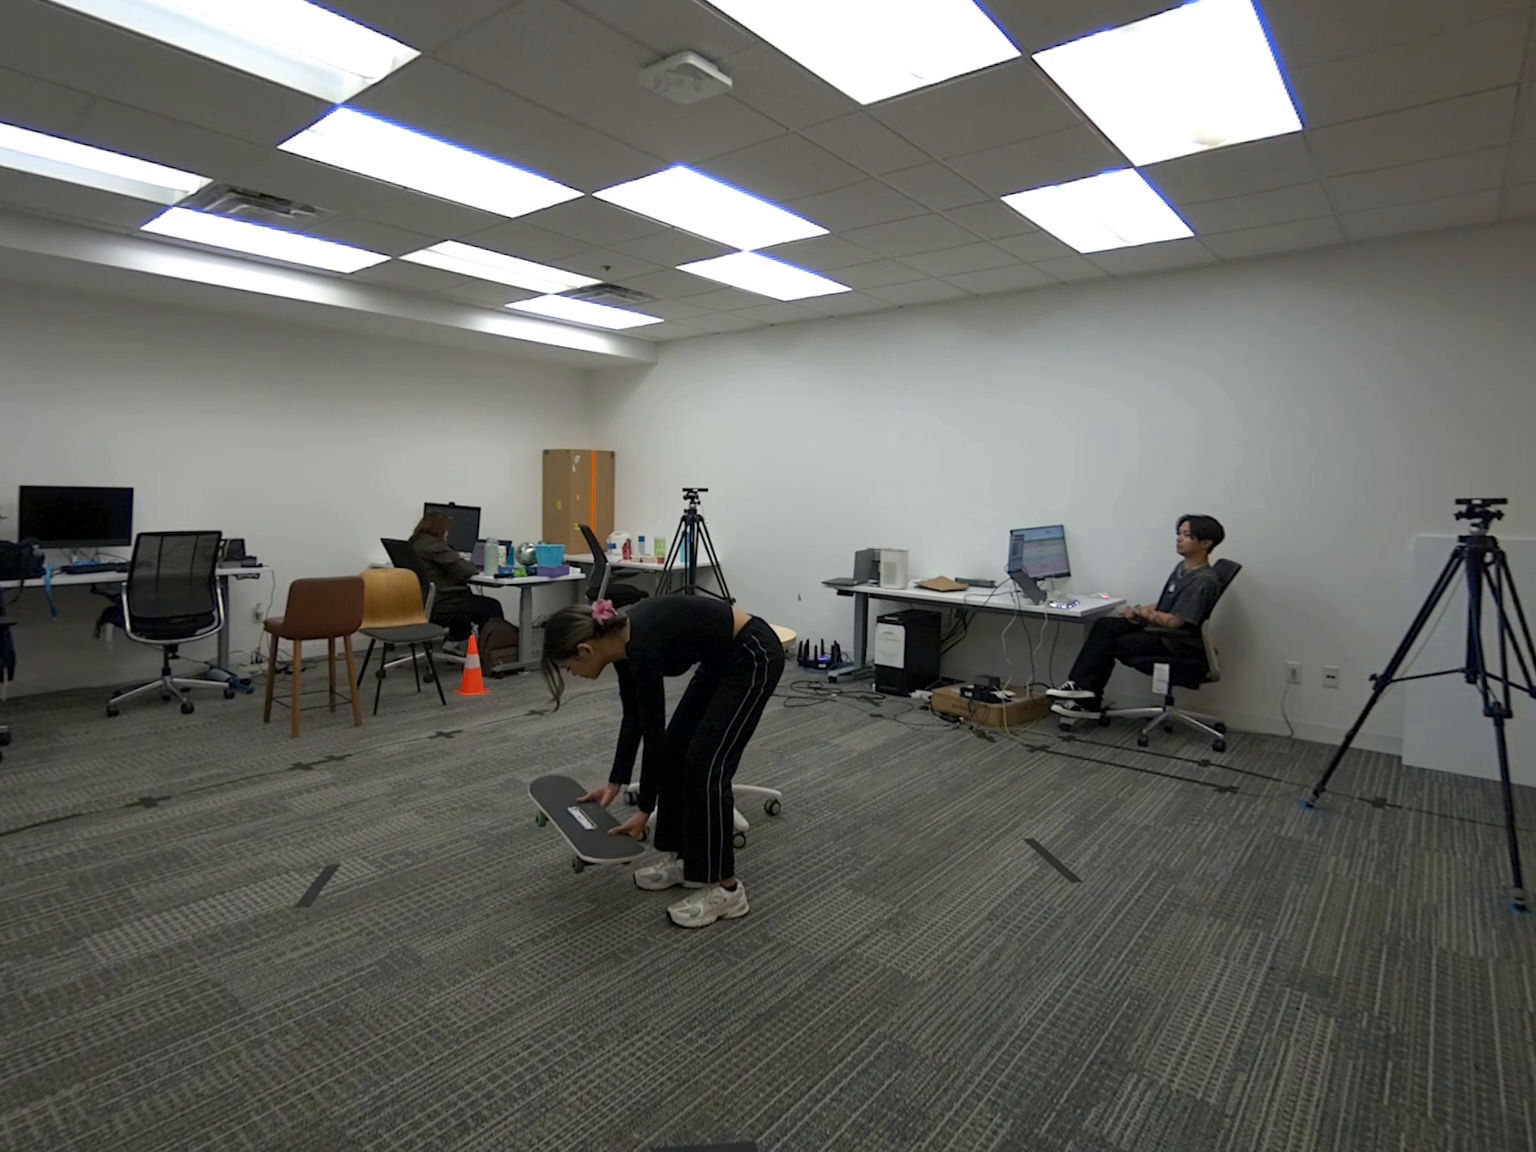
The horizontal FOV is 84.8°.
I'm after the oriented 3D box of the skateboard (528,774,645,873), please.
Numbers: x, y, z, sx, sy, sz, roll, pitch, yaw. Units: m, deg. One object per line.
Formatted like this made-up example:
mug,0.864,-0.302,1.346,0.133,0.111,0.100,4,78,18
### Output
skateboard,-0.613,0.819,2.777,0.188,0.110,0.809,1,5,-29
